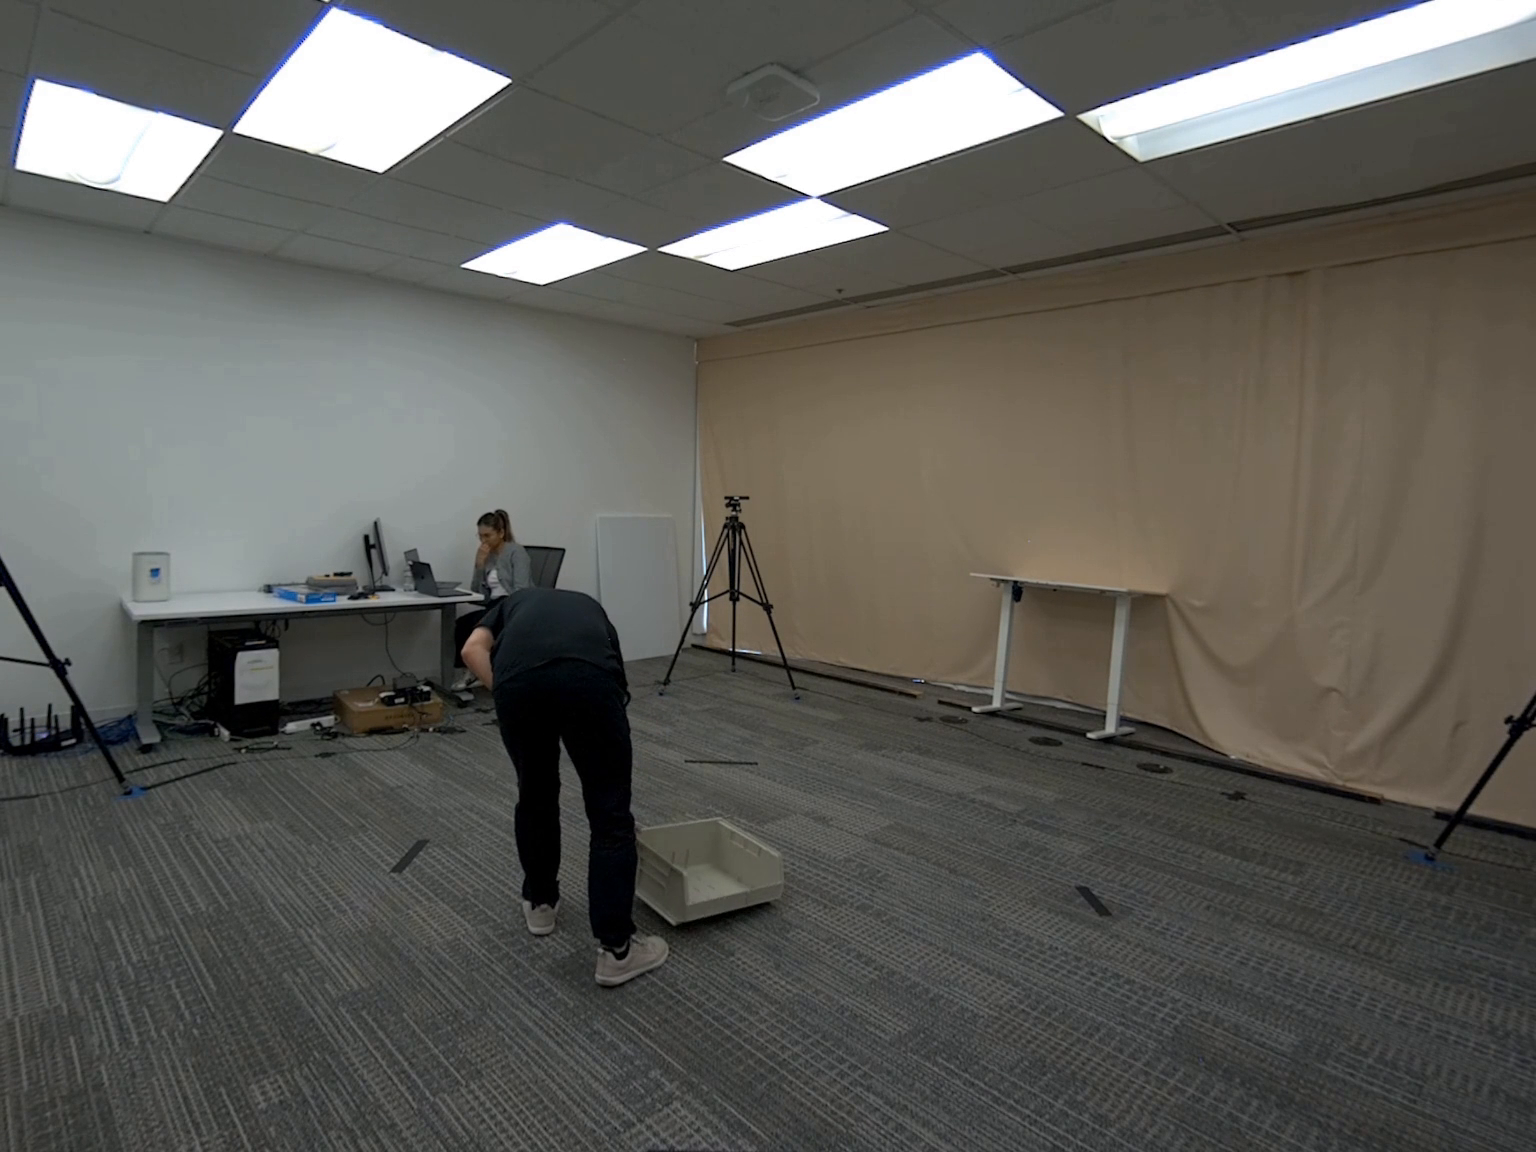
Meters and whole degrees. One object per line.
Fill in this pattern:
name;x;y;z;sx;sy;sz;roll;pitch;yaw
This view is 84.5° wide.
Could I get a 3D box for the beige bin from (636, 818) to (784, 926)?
beige bin;-0.225;1.008;2.877;0.411;0.189;0.387;5;4;-41
